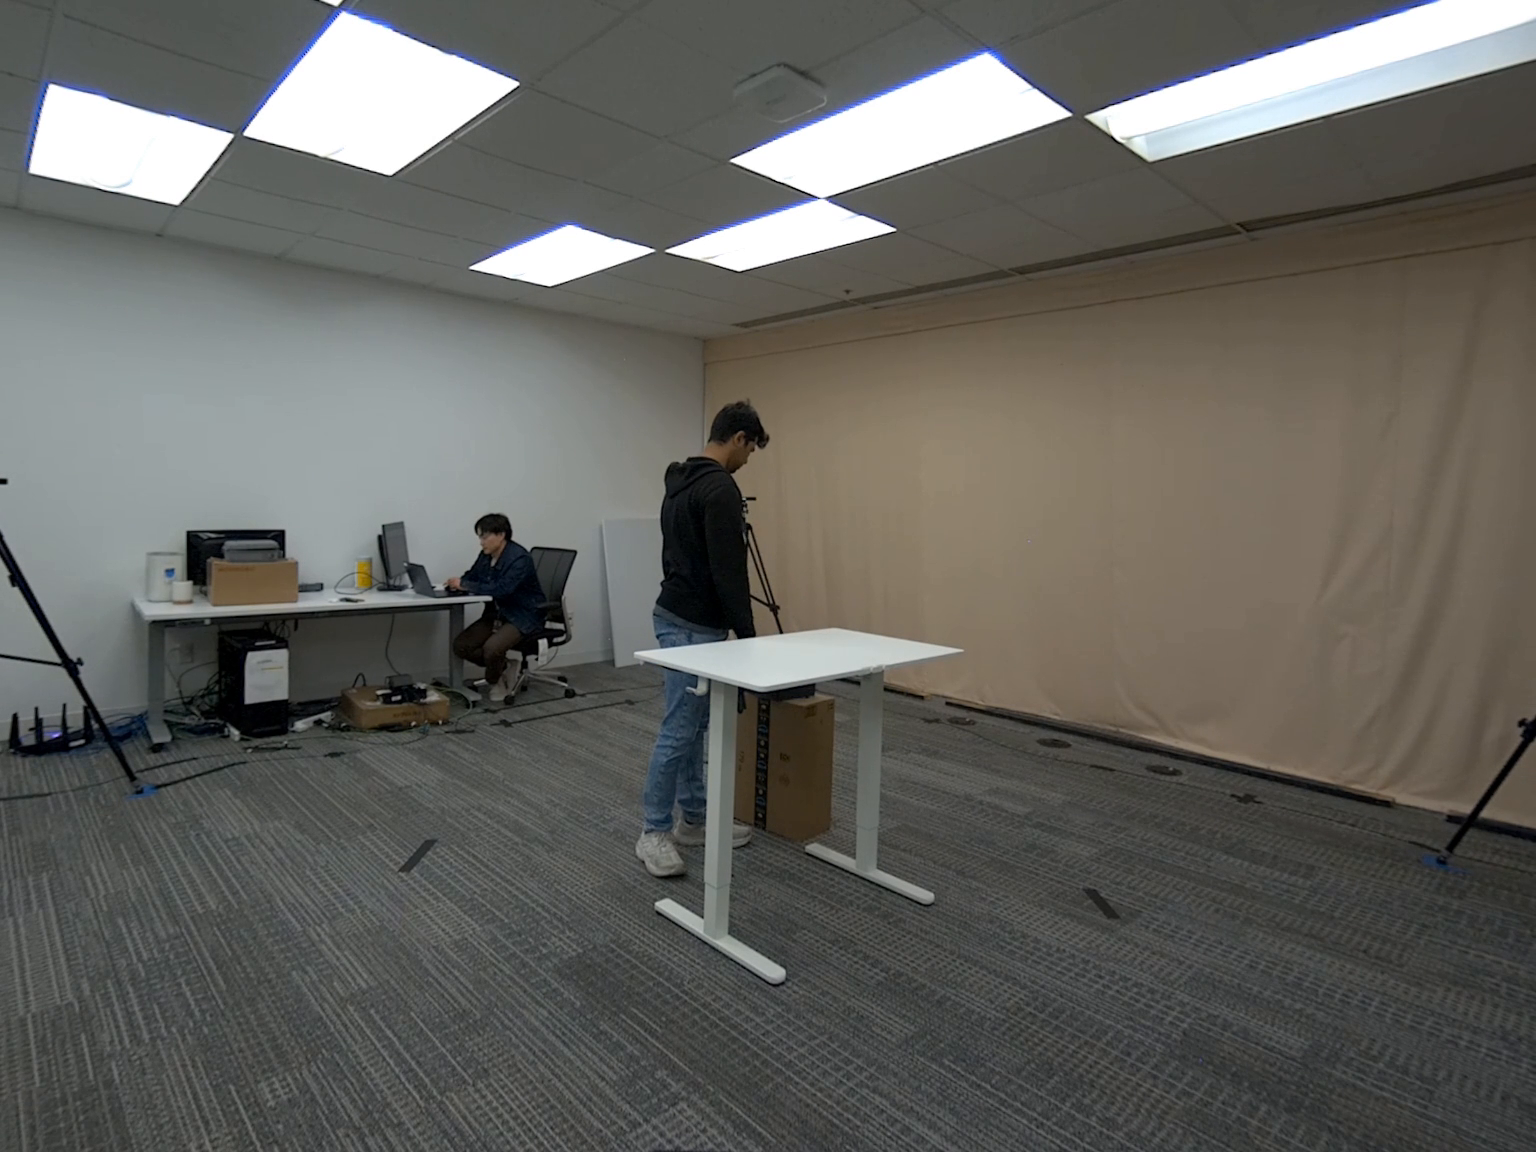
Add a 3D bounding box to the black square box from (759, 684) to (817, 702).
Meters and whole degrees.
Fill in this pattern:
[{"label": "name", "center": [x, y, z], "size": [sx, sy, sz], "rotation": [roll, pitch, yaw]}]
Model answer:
[{"label": "black square box", "center": [0.043, 0.424, 3.601], "size": [0.212, 0.155, 0.234], "rotation": [-2, 6, -39]}]
